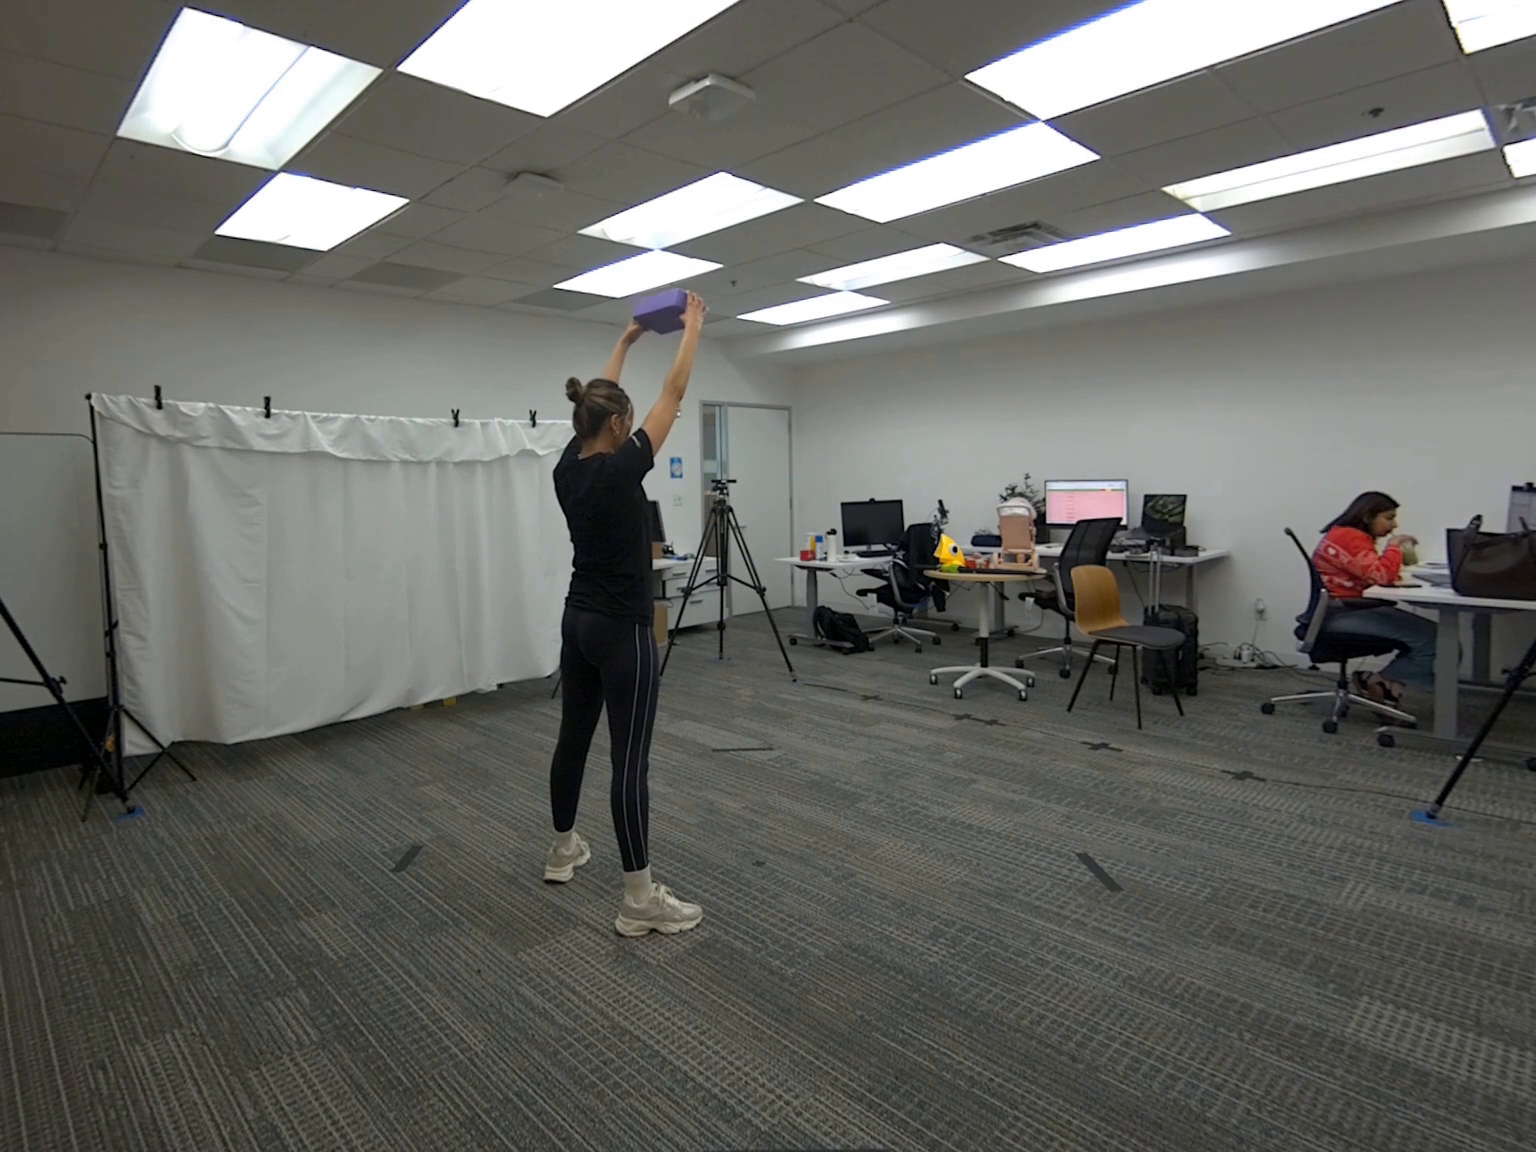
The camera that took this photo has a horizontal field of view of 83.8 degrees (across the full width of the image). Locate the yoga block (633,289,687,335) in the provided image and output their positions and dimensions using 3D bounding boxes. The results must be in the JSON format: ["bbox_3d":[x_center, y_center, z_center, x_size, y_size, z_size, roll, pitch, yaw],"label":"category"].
[{"bbox_3d":[-0.357,-0.932,3.020,0.236,0.077,0.143,0,-14,44],"label":"yoga block"}]
